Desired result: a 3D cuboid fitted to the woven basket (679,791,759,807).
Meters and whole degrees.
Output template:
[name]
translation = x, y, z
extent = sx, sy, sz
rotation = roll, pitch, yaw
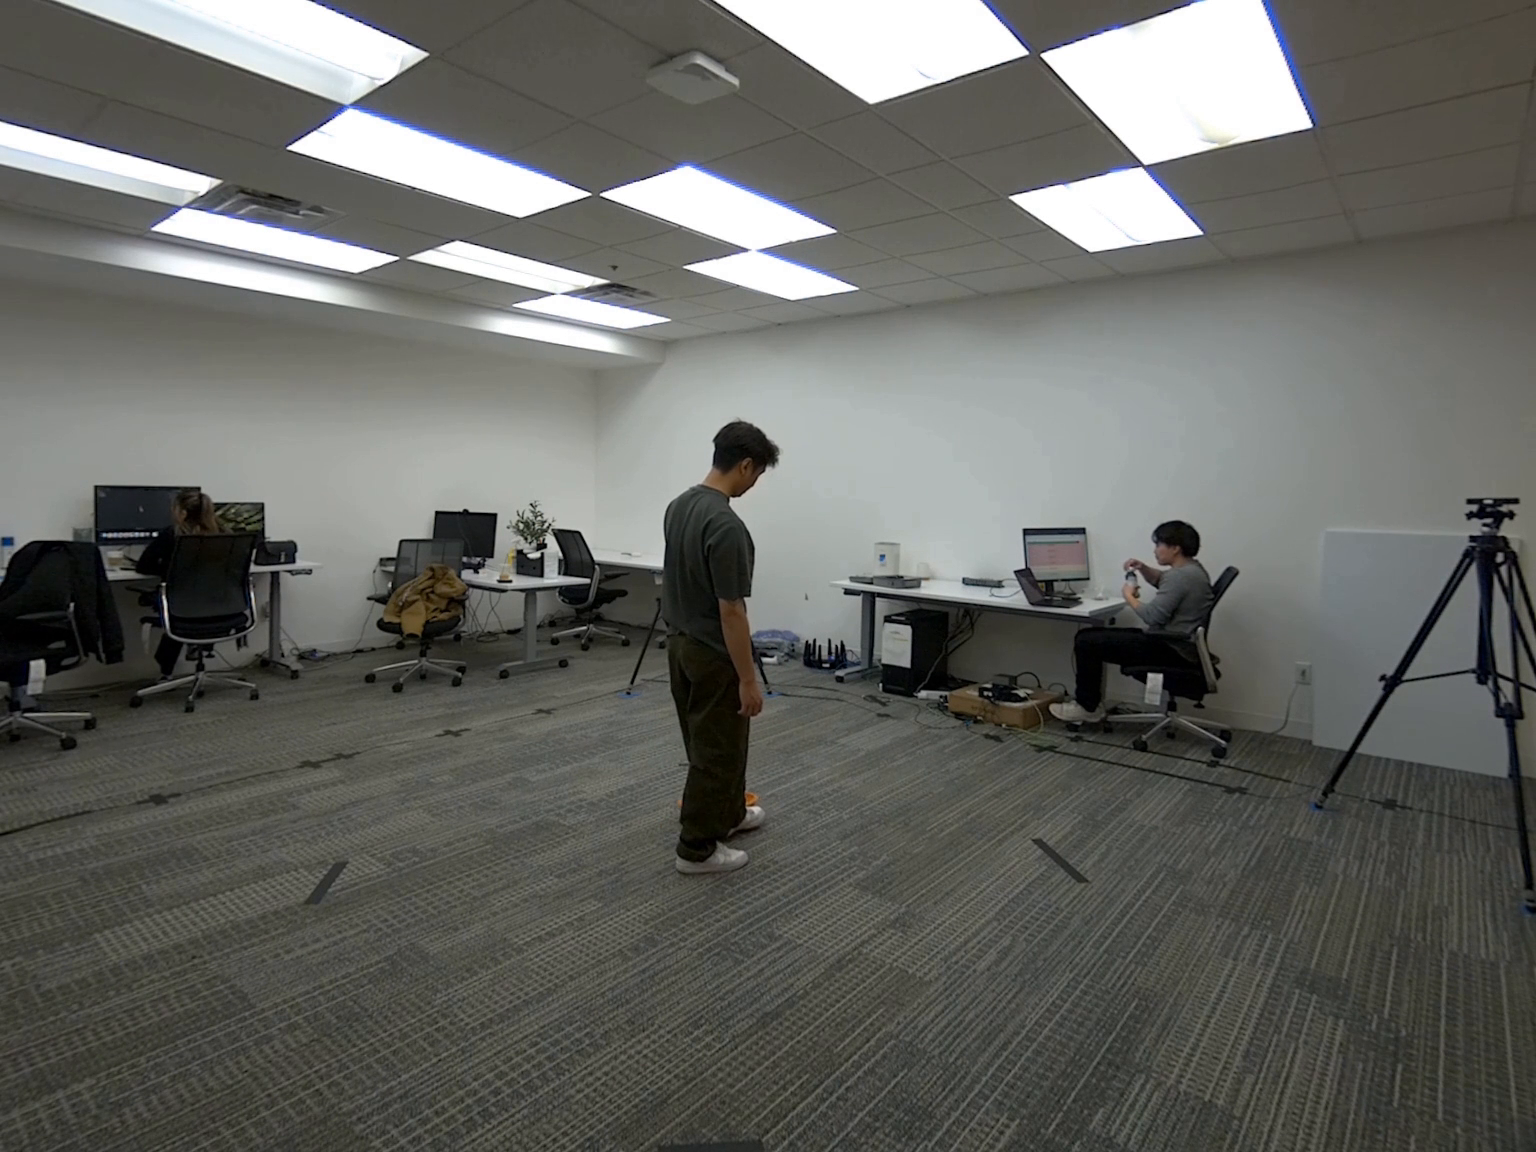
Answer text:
[woven basket]
translation = -0.223, 0.969, 3.592
extent = 0.342, 0.073, 0.259
rotation = -3, 2, -27
